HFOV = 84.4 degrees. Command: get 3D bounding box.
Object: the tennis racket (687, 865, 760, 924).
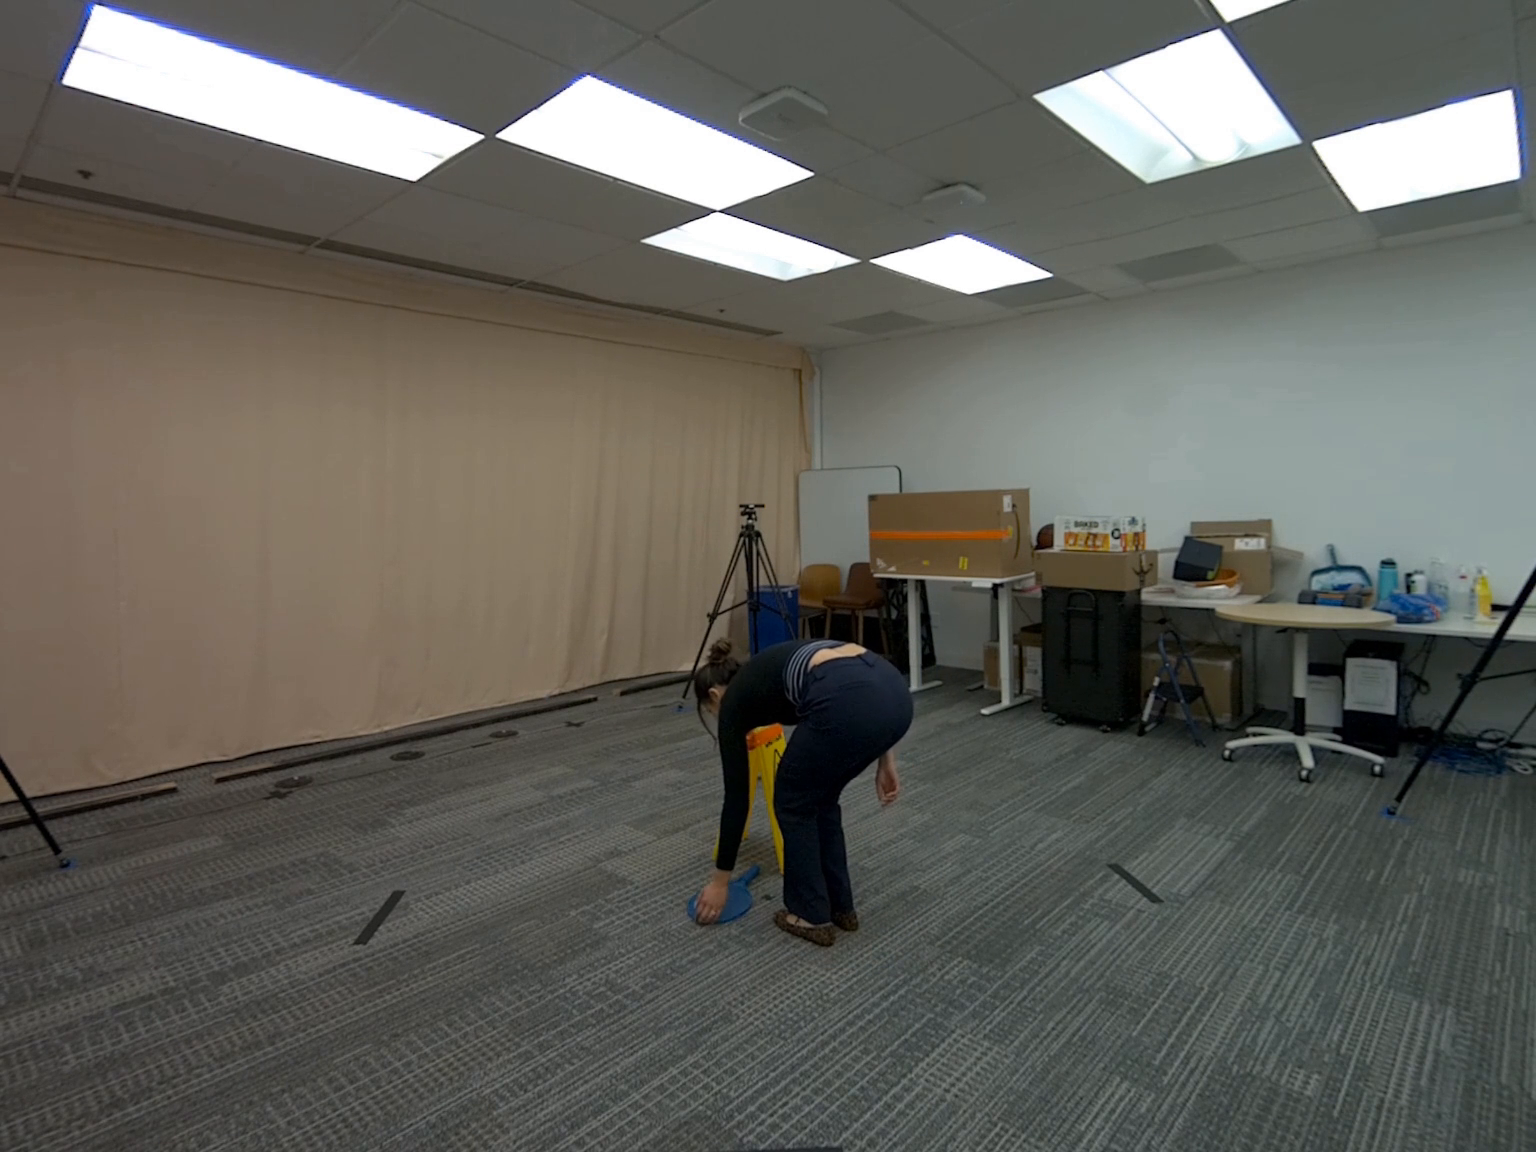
[{"bbox_3d":[-0.112,1.119,3.044,0.220,0.031,0.422,3,8,28],"label":"tennis racket"}]
